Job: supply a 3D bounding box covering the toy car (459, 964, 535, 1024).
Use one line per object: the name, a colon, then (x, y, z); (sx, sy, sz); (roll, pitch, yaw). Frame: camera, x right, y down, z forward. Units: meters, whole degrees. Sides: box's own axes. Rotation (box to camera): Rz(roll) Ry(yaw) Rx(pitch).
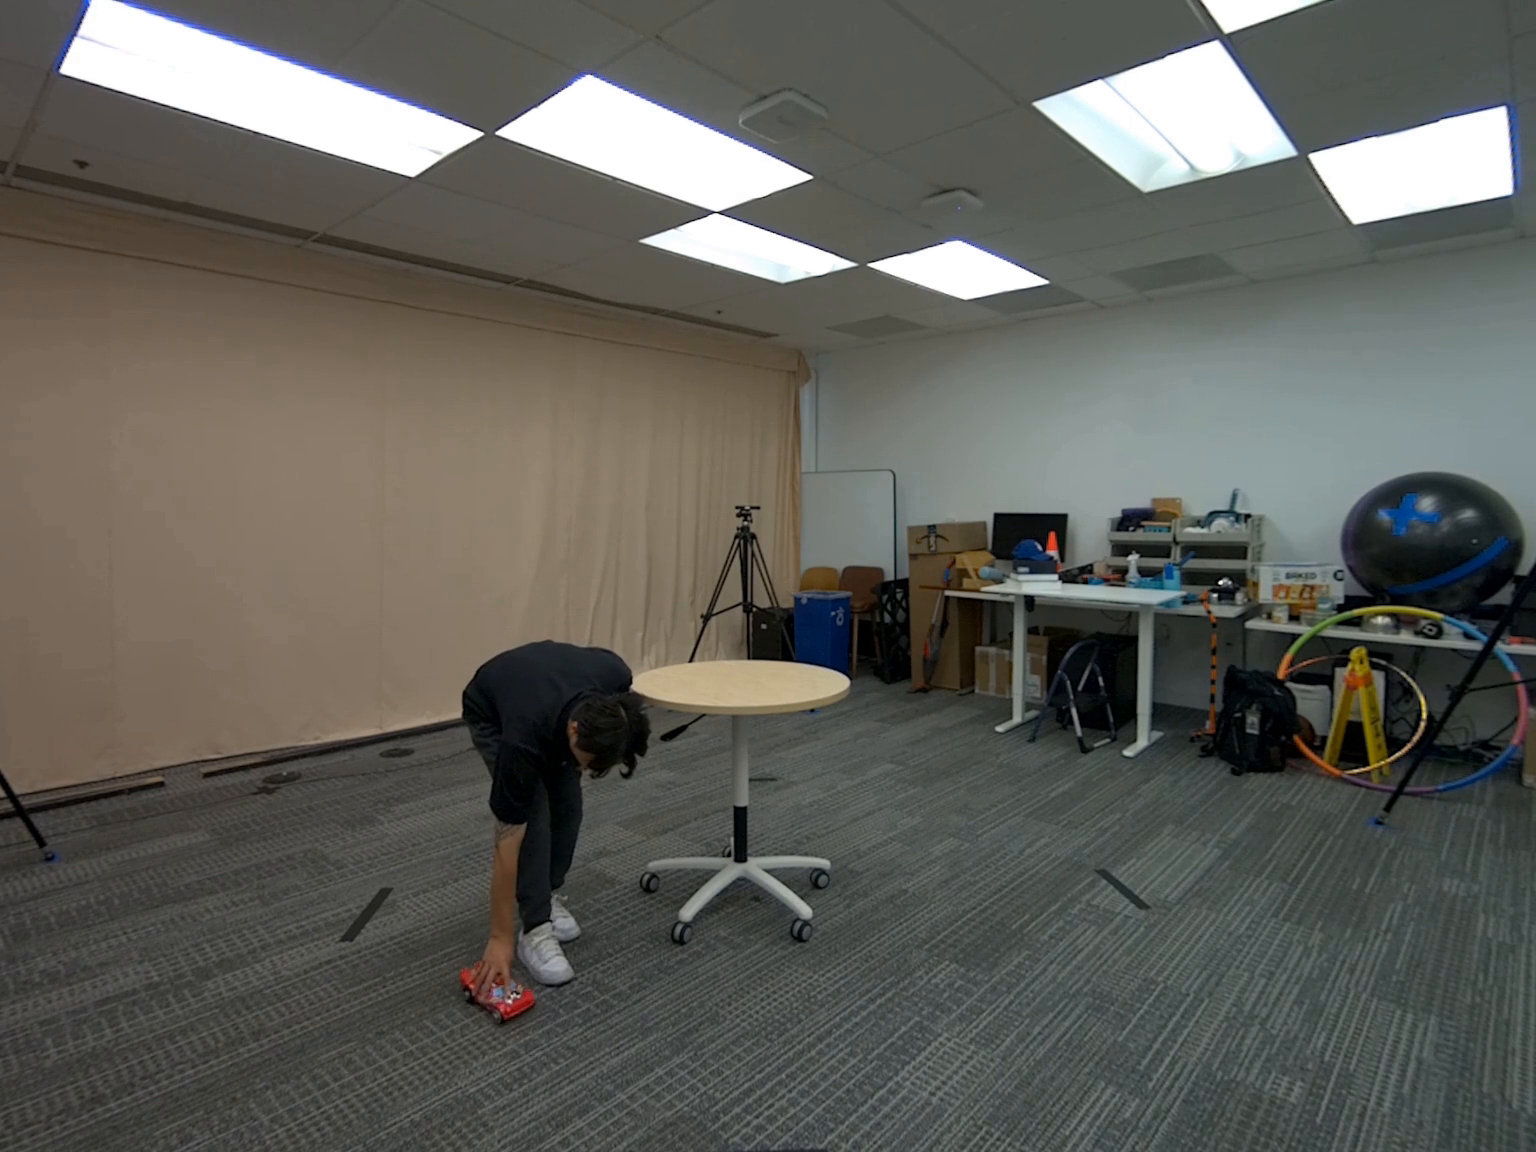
toy car: (-0.767, 1.164, 2.372); (0.263, 0.083, 0.126); (16, 15, 38)
